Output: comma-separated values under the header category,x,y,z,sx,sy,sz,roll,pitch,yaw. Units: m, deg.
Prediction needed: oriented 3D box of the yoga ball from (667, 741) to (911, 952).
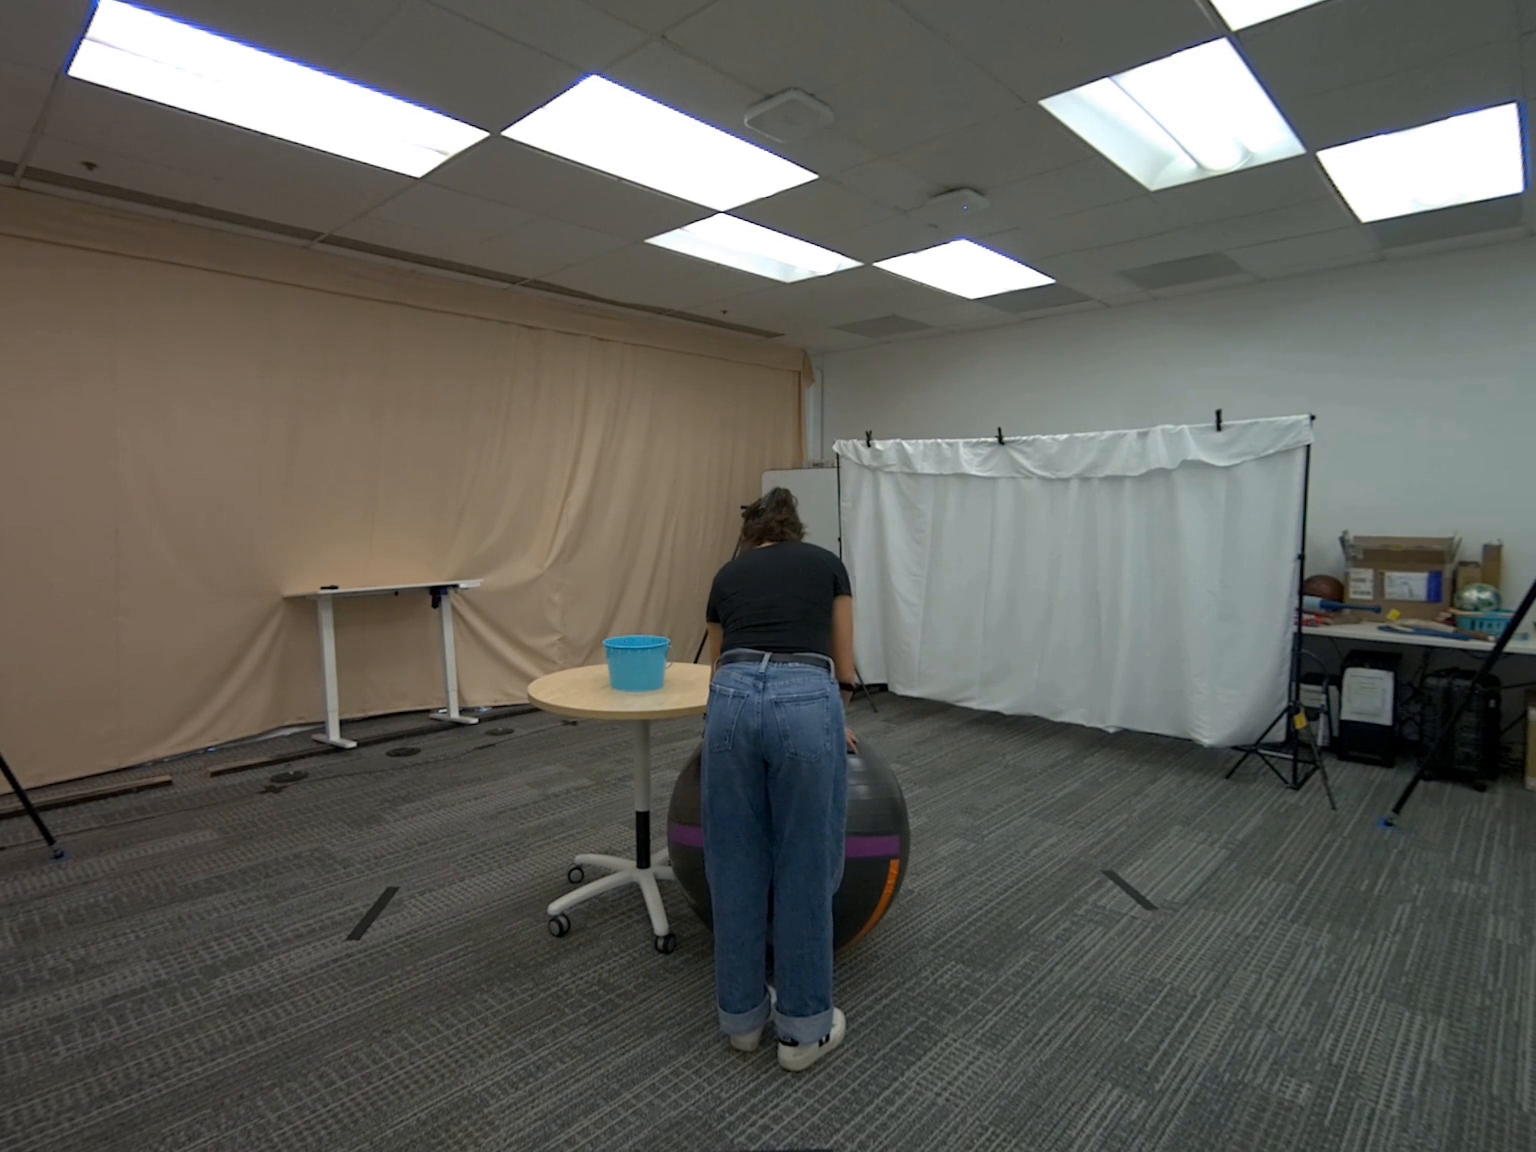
category,x,y,z,sx,sy,sz,roll,pitch,yaw
yoga ball,0.062,0.808,2.655,0.757,0.756,0.760,0,4,-2
